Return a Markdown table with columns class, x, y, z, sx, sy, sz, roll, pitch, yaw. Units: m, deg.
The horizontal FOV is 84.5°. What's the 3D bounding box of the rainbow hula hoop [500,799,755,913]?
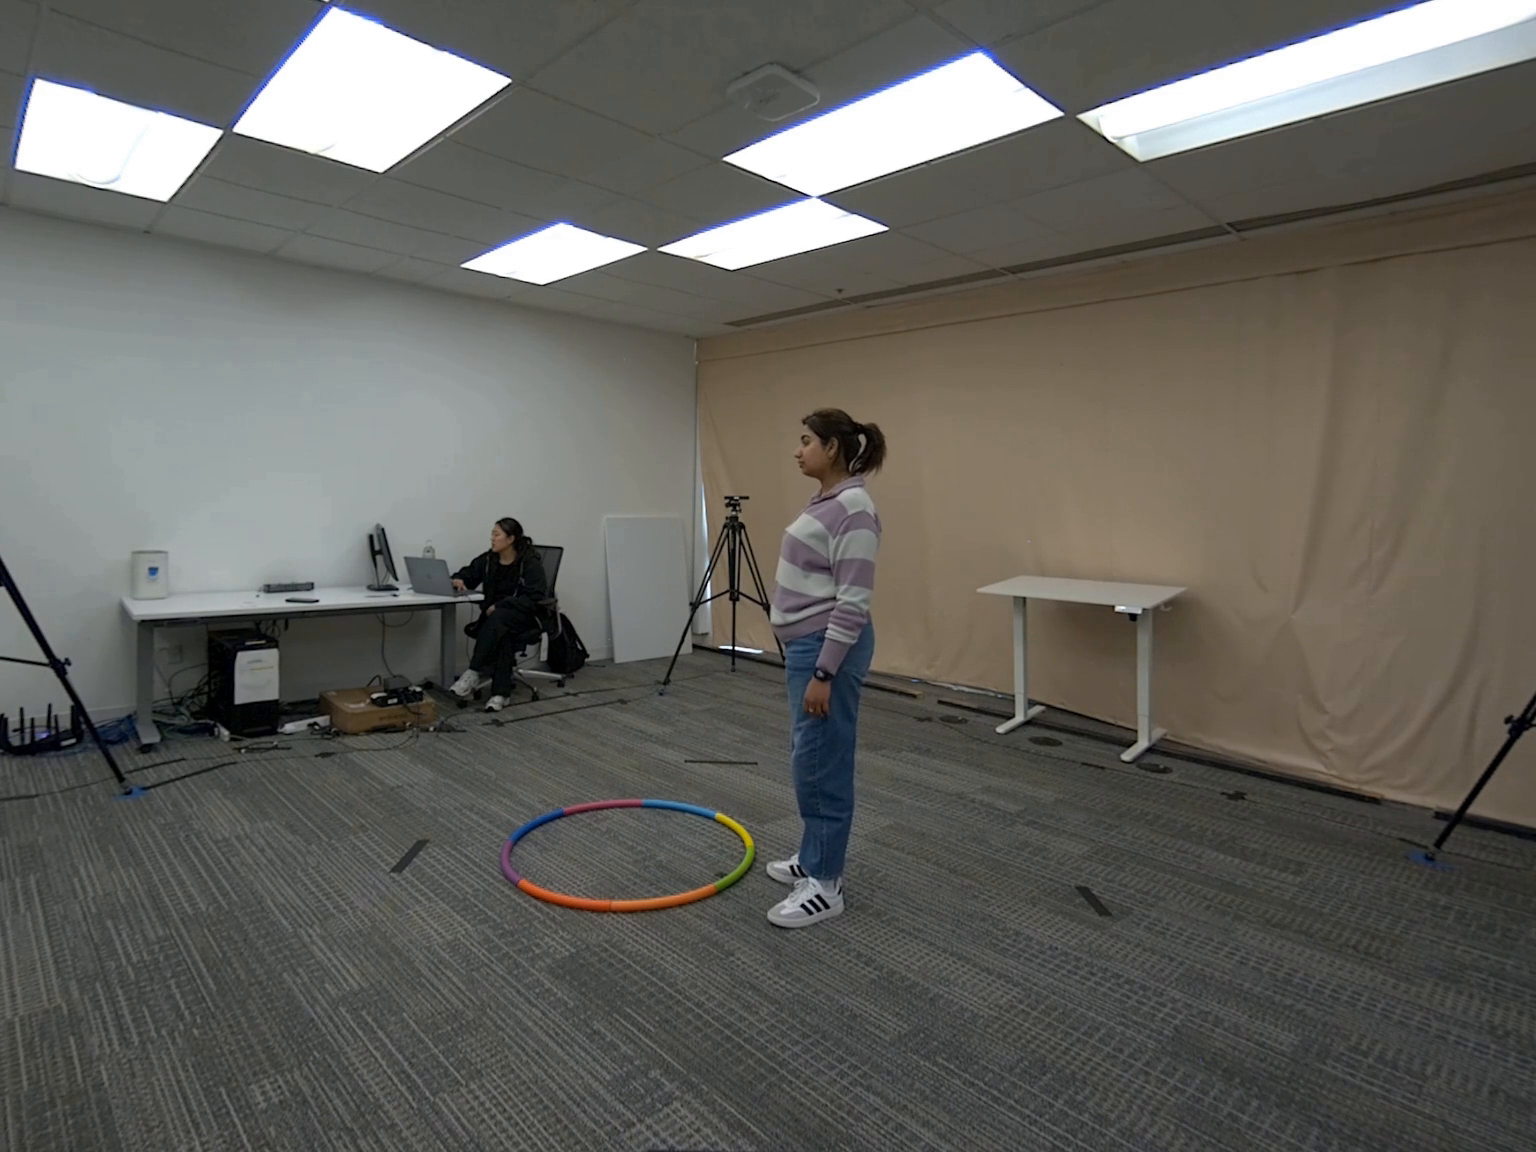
| class | x | y | z | sx | sy | sz | roll | pitch | yaw |
| --- | --- | --- | --- | --- | --- | --- | --- | --- | --- |
| rainbow hula hoop | -0.542 | 1.047 | 3.294 | 0.978 | 0.035 | 0.982 | 1 | 5 | -1 |
